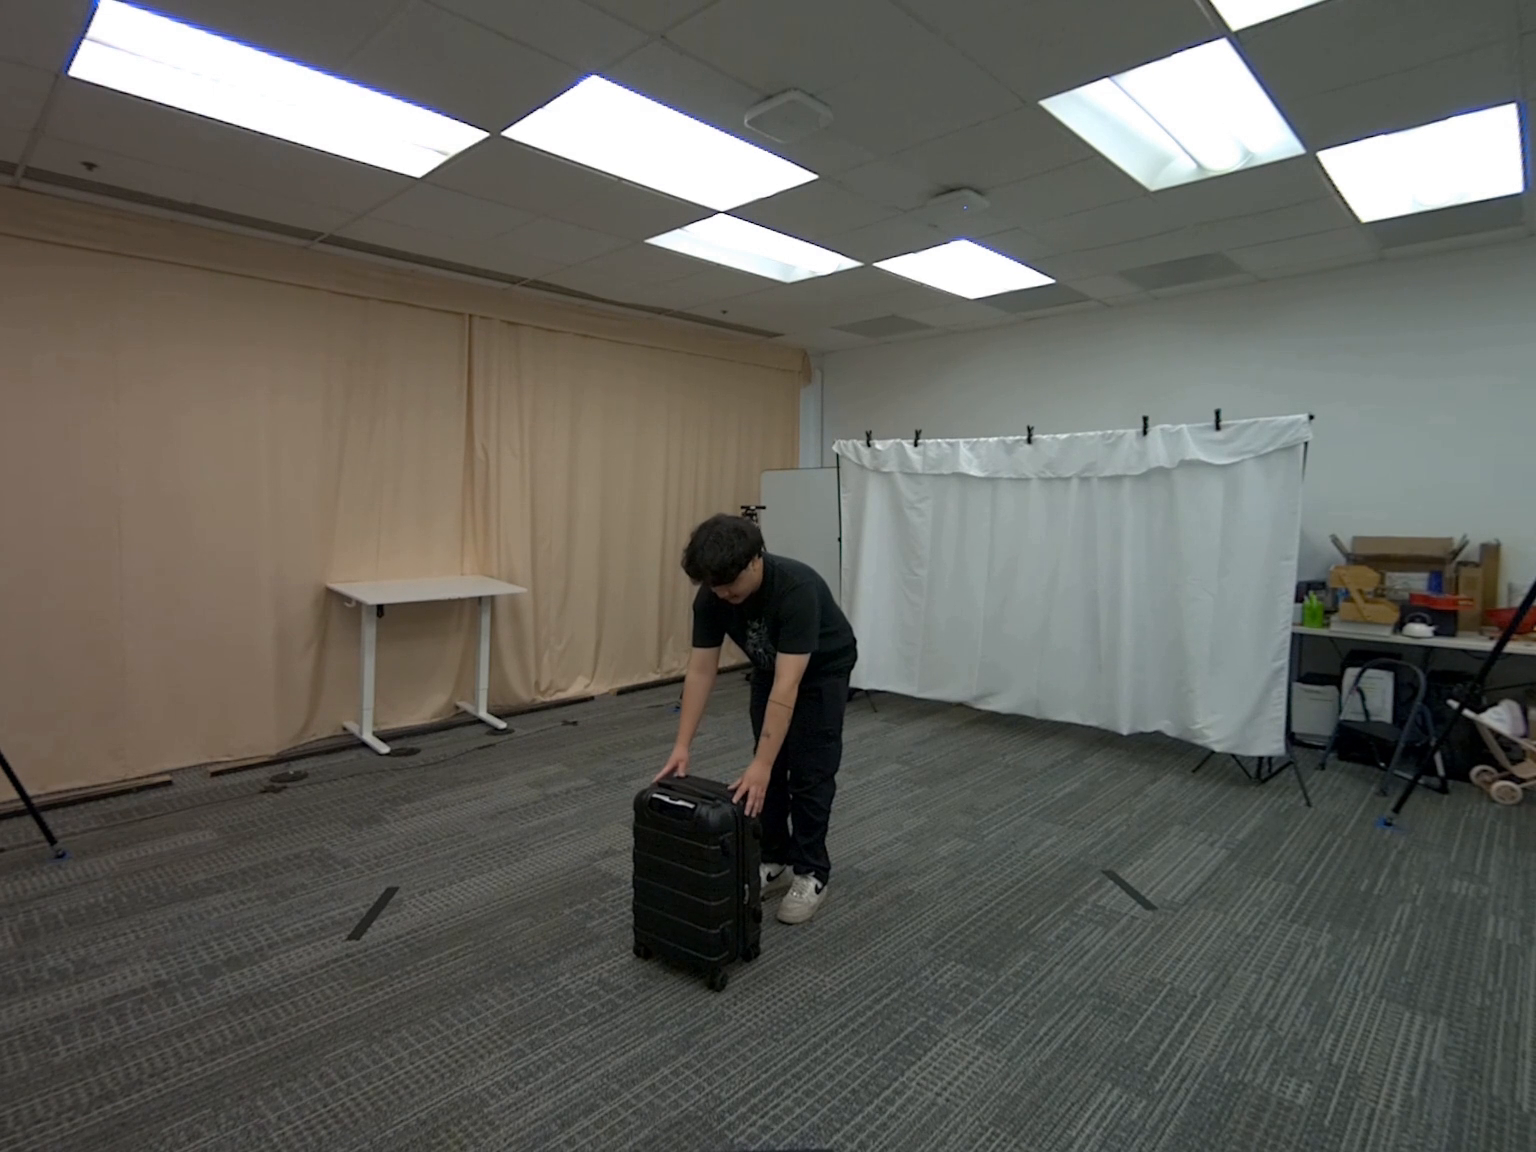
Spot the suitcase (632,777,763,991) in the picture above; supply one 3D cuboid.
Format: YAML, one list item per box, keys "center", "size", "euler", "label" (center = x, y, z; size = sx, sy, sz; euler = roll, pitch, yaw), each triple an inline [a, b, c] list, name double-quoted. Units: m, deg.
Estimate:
- center: [-0.221, 0.906, 2.568]
  size: [0.387, 0.548, 0.241]
  euler: [2, 4, 36]
  label: "suitcase"
